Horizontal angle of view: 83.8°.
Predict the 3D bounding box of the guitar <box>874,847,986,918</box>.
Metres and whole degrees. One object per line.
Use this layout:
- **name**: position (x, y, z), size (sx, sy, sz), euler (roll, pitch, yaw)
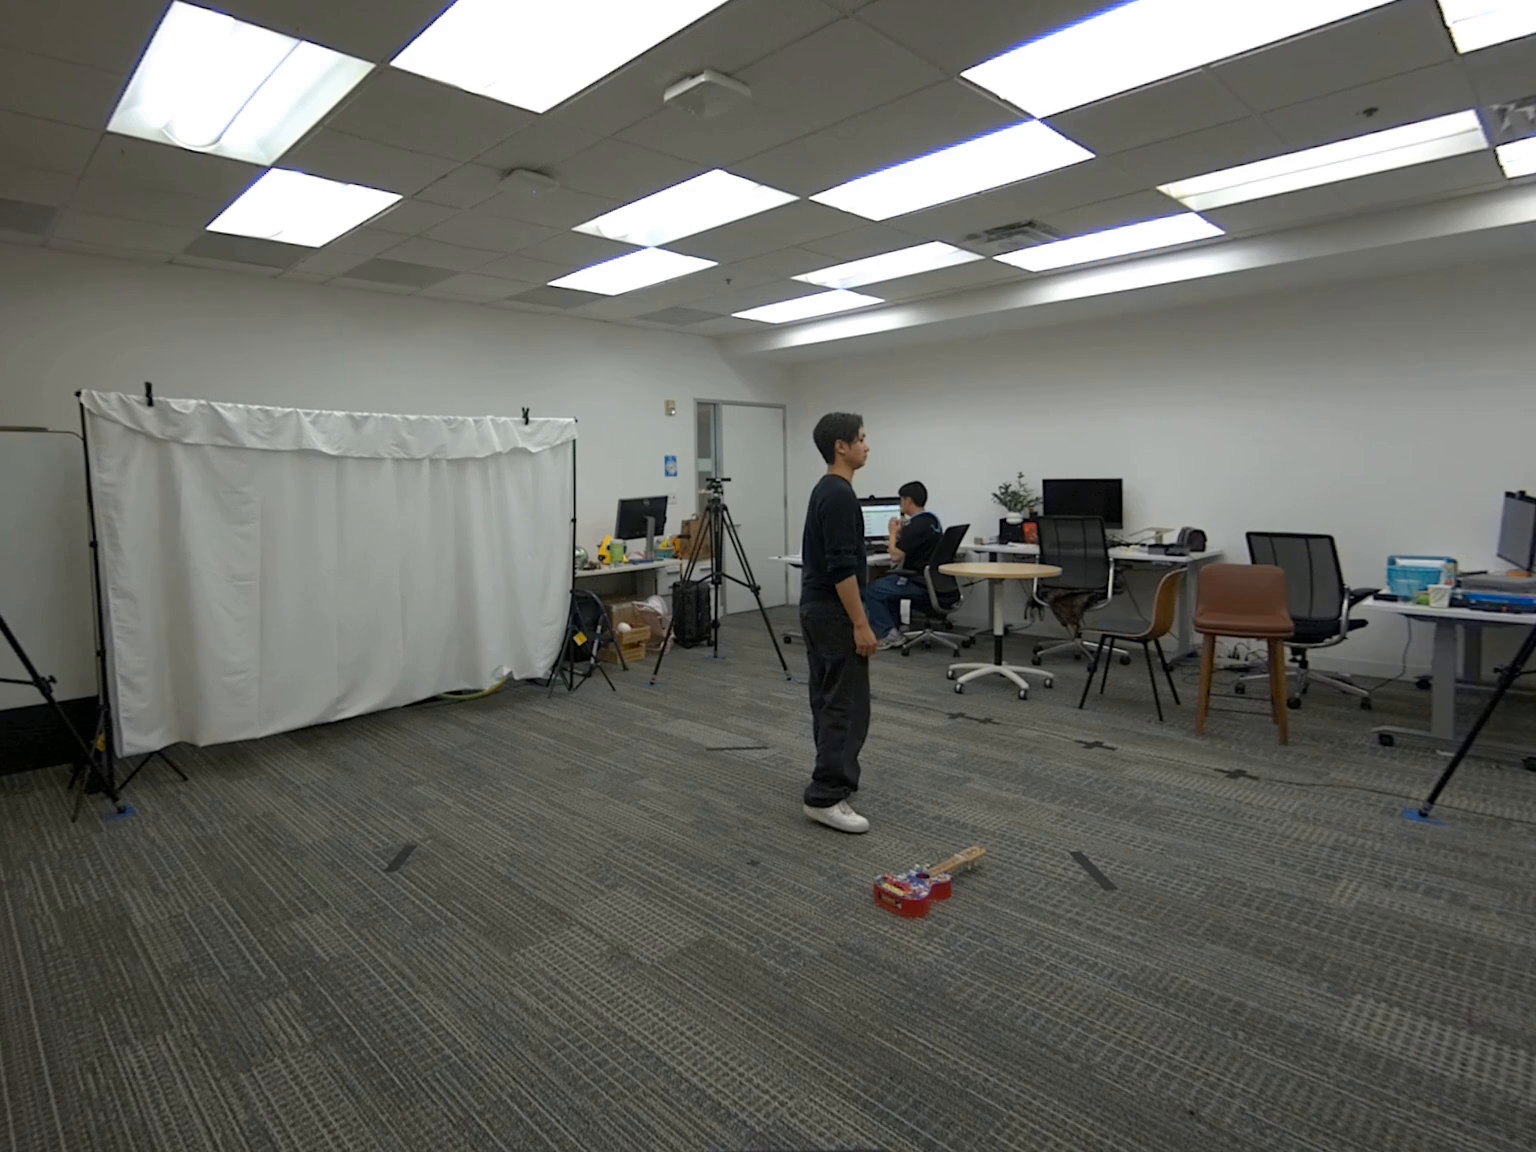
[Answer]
- **guitar**: position (0.594, 1.030, 2.874), size (0.486, 0.070, 0.198), euler (-5, 8, -30)
